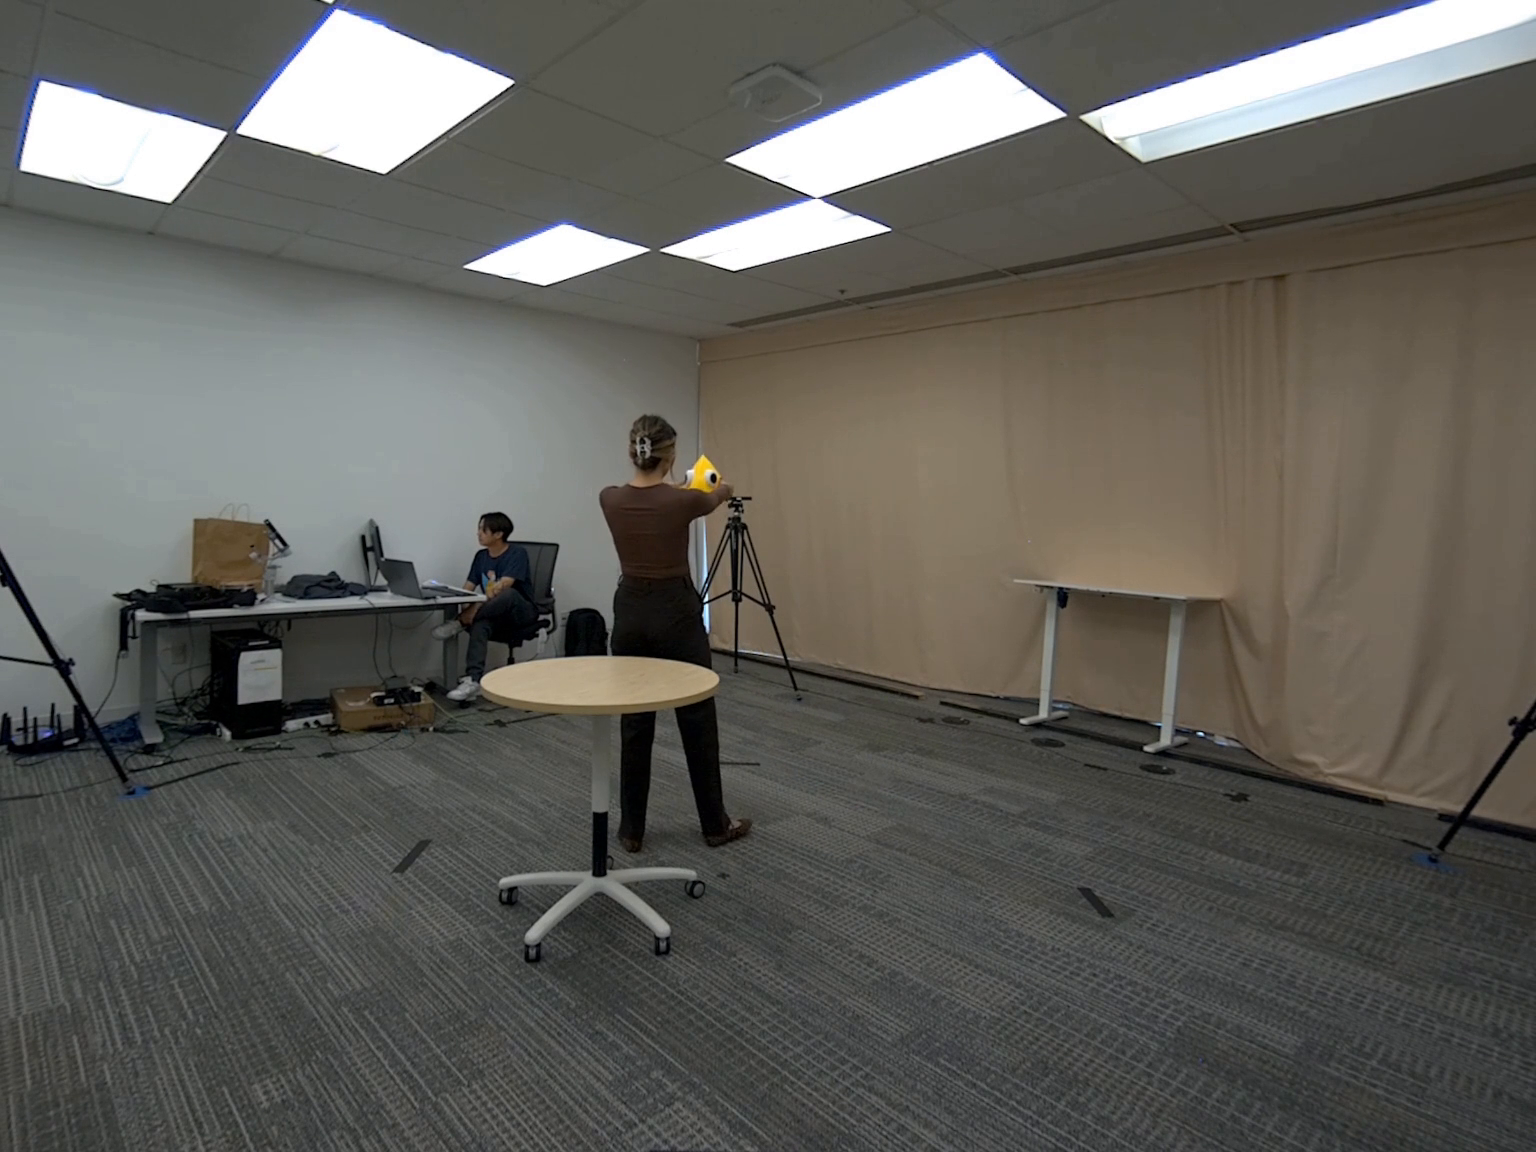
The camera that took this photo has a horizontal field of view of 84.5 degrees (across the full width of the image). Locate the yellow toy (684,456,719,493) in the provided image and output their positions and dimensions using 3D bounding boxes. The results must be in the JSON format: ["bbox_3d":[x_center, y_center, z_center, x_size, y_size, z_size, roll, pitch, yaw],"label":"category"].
[{"bbox_3d":[-0.315,-0.435,3.843,0.207,0.228,0.193,3,13,11],"label":"yellow toy"}]
